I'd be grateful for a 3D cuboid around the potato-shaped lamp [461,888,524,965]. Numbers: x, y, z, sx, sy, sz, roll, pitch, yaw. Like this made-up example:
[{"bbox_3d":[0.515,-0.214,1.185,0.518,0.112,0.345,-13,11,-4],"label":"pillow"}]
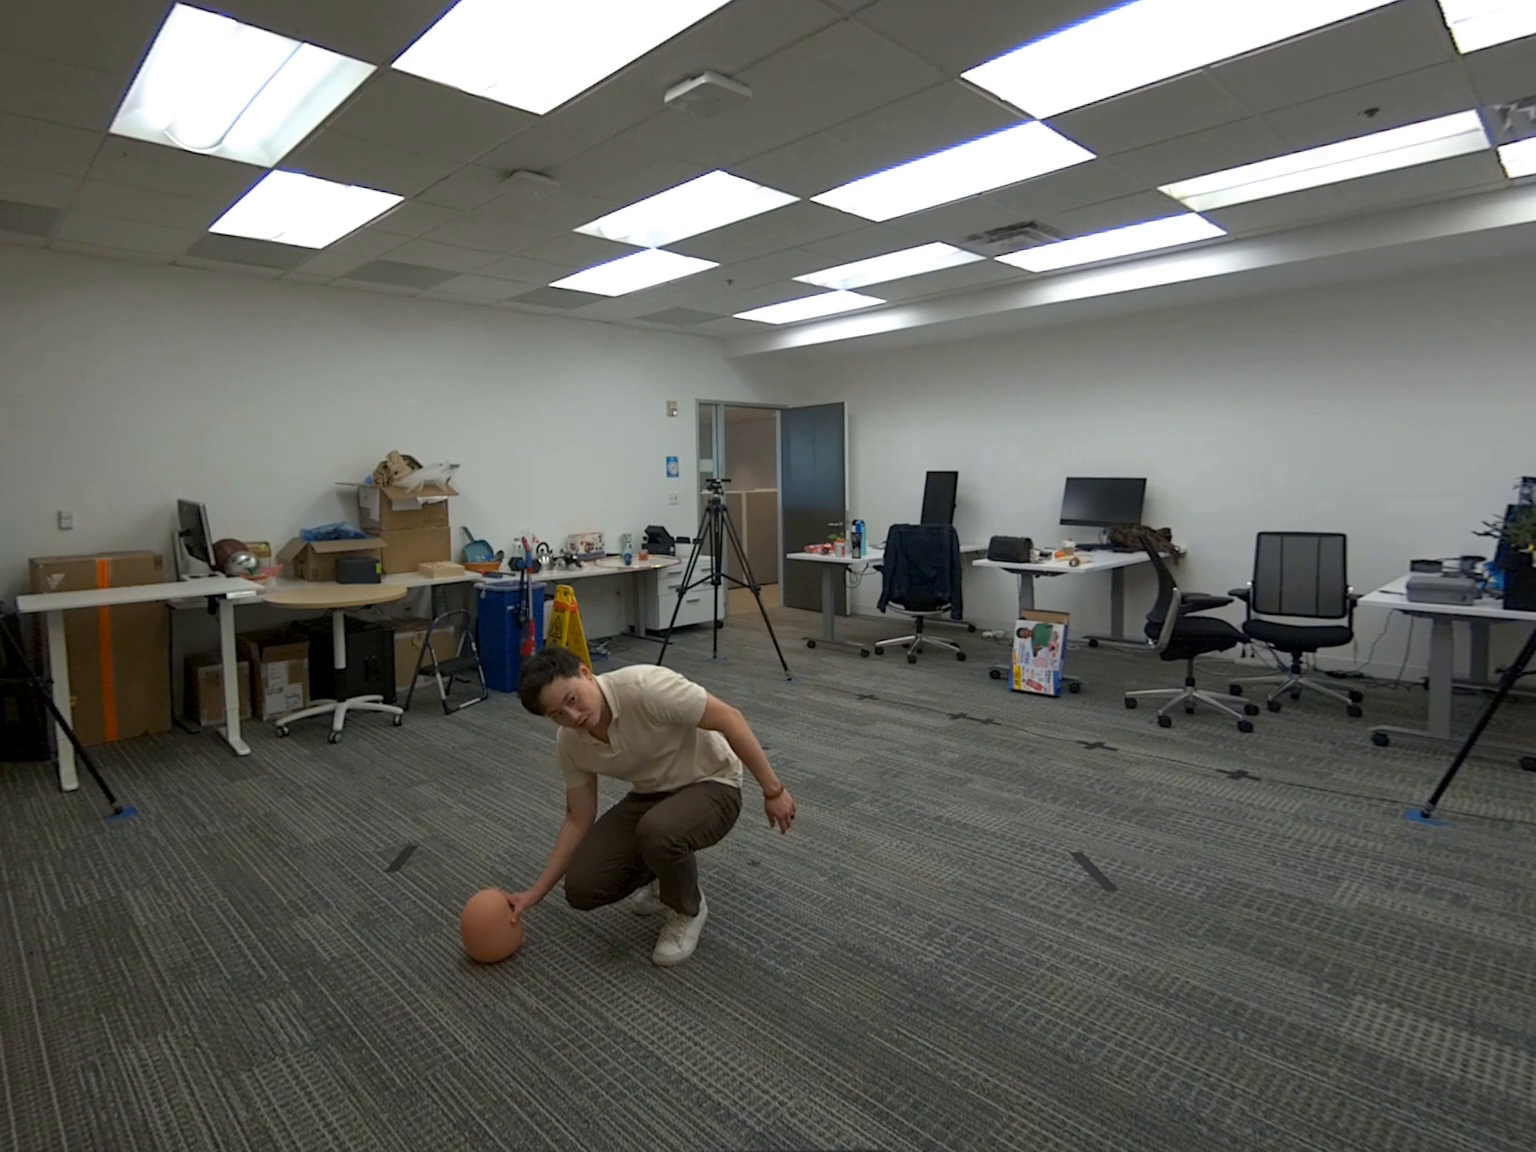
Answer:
[{"bbox_3d":[-0.818,1.033,2.514,0.169,0.195,0.169,3,18,36],"label":"potato-shaped lamp"}]
